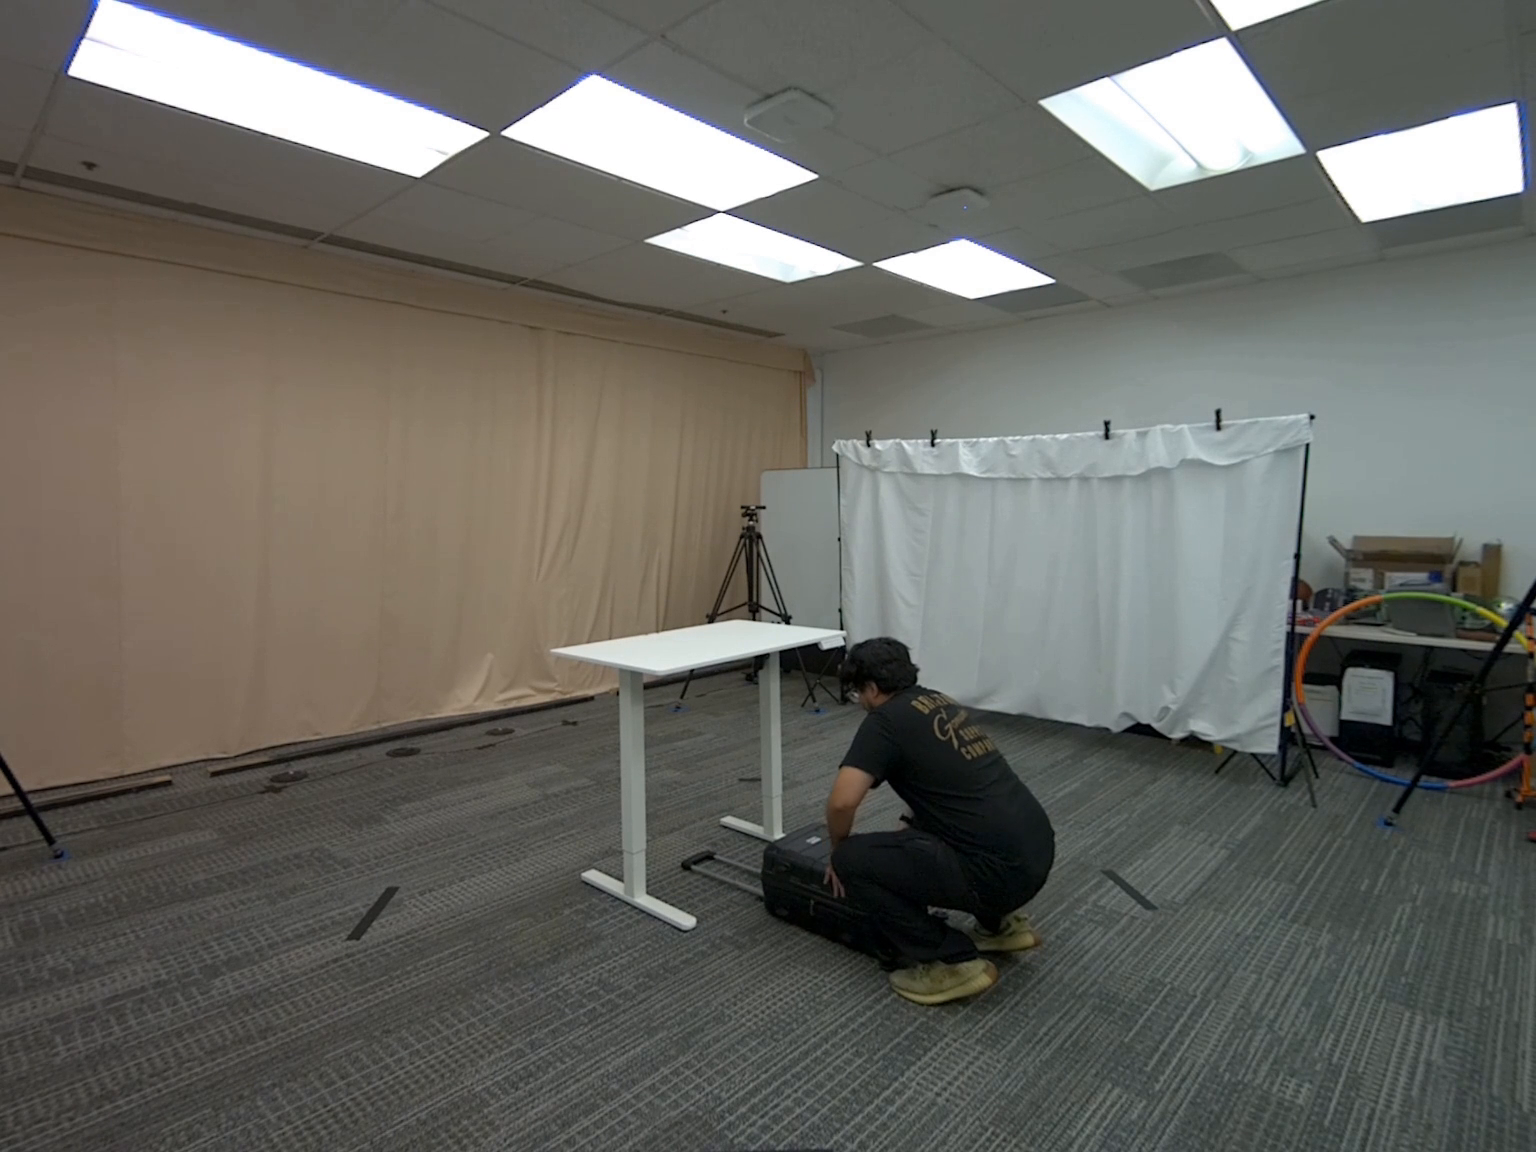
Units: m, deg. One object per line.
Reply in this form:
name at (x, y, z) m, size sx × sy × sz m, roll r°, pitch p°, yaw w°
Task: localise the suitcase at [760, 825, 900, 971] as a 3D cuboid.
suitcase at (0.104, 1.020, 2.964) m, size 1.011 × 0.256 × 0.373 m, roll 5°, pitch 9°, yaw 40°
